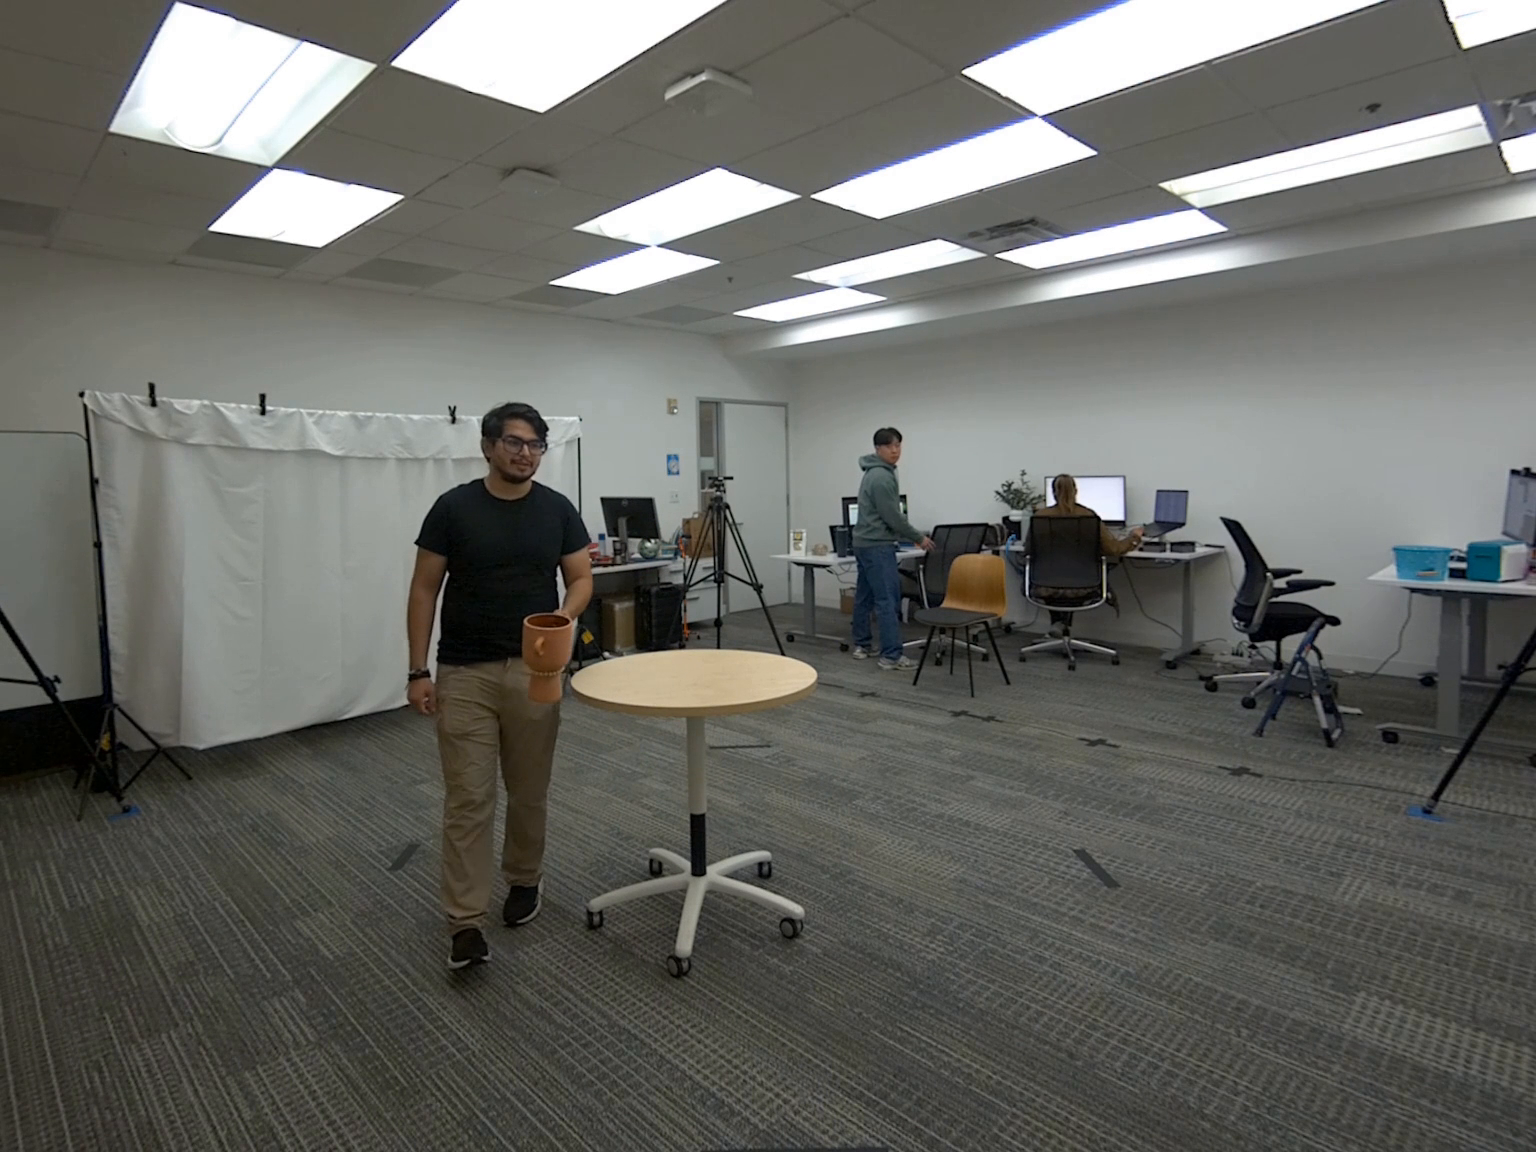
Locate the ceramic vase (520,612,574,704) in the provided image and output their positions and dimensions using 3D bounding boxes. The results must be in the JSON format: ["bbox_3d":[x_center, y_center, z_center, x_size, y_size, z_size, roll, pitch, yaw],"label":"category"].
[{"bbox_3d":[-0.613,0.230,2.355,0.155,0.217,0.139,-7,19,-44],"label":"ceramic vase"}]
